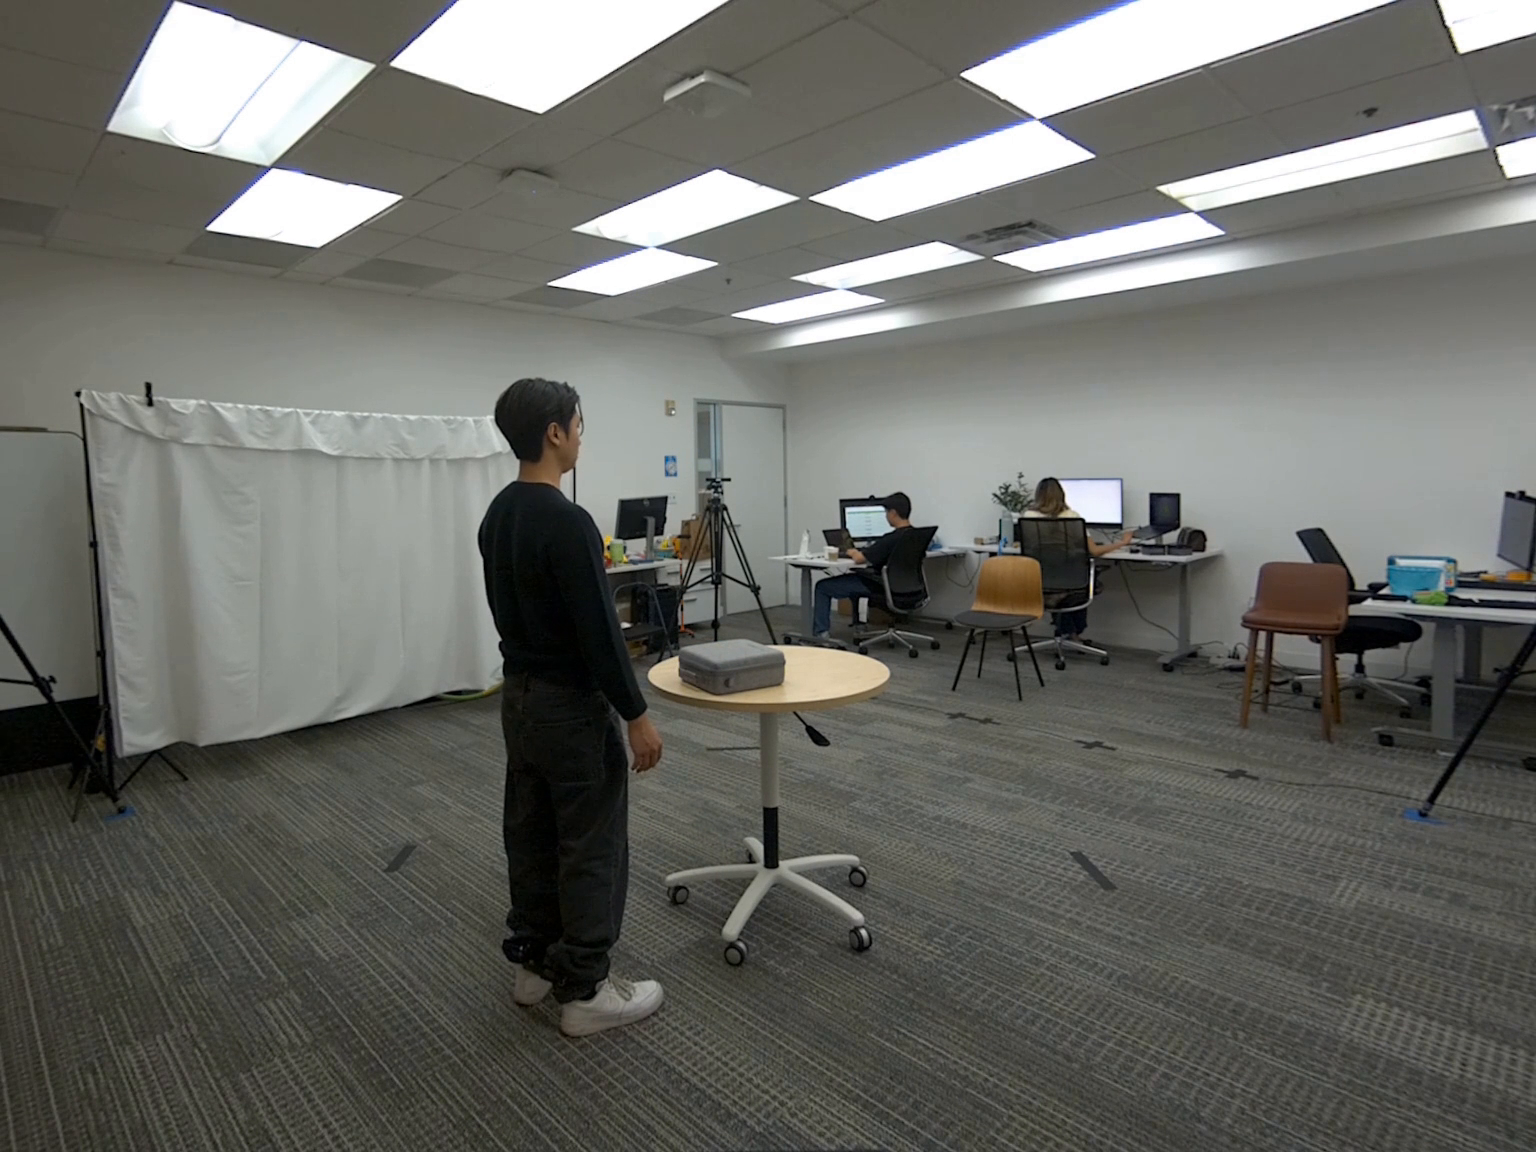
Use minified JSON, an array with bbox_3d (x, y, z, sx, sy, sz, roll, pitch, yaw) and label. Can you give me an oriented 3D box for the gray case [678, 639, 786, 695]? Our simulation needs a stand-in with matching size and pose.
[{"bbox_3d":[-0.104,0.270,2.577,0.255,0.103,0.265,-6,10,-31],"label":"gray case"}]
